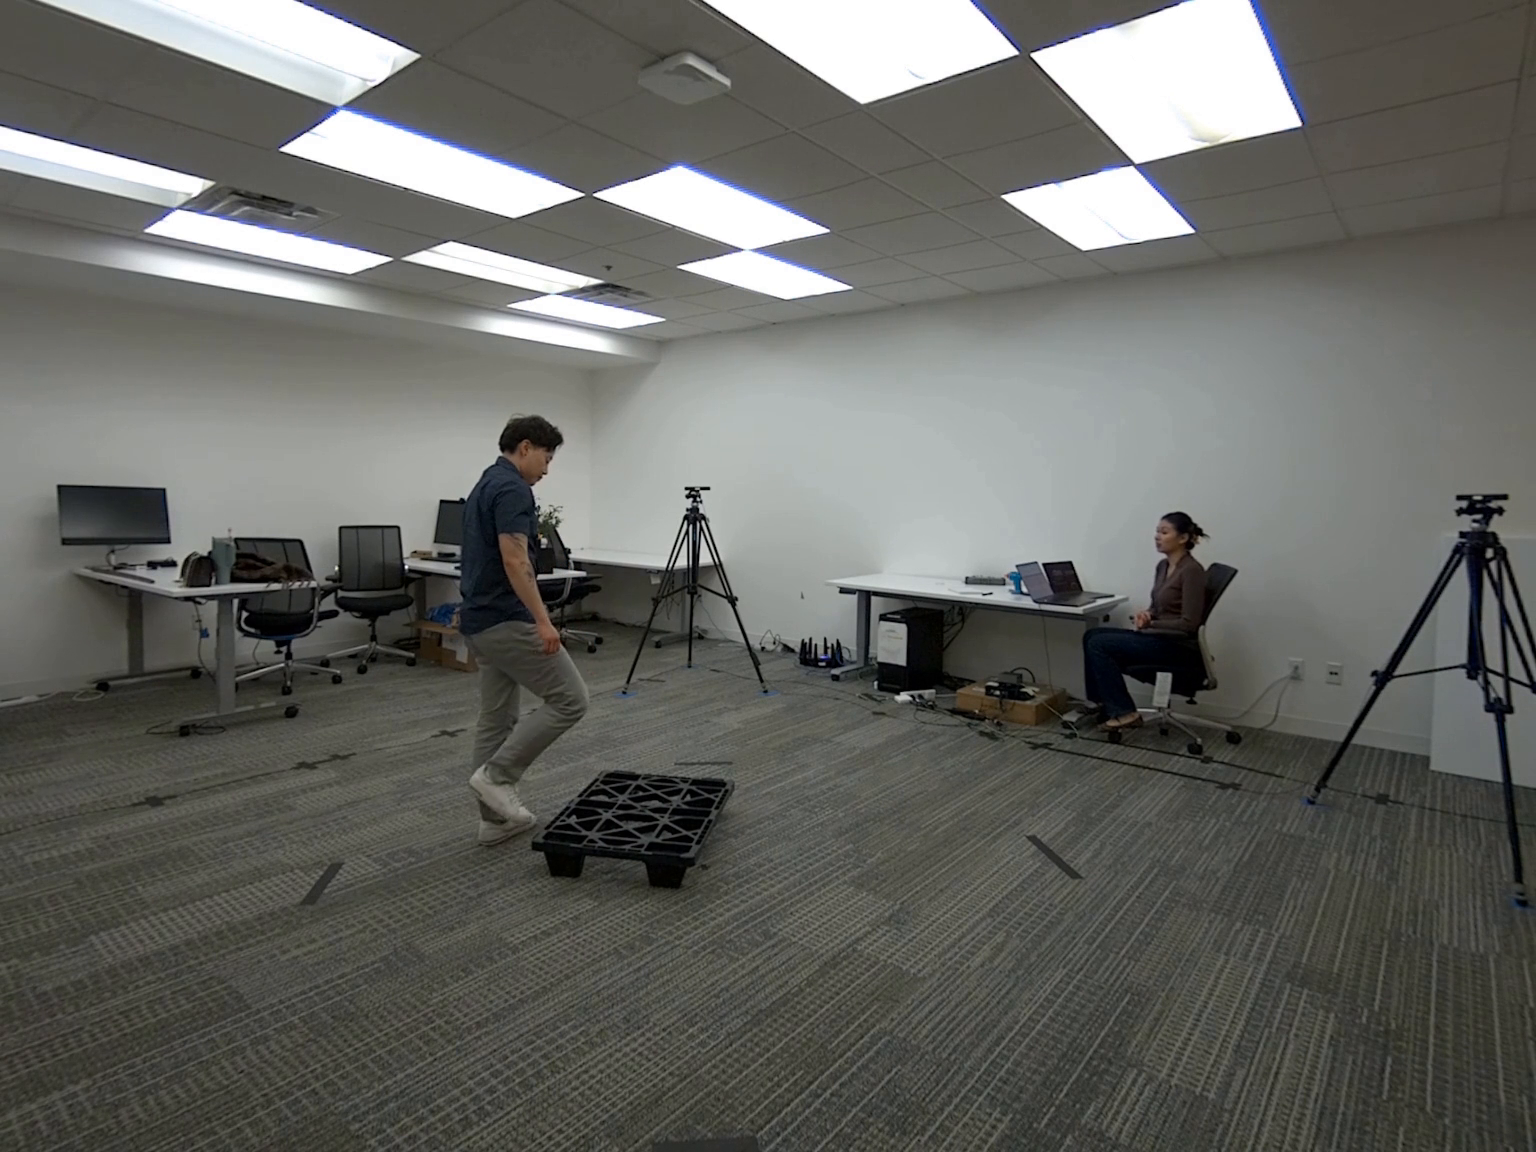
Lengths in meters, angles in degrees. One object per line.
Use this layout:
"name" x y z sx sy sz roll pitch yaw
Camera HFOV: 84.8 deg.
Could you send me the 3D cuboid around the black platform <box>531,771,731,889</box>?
"black platform" -0.504 0.971 3.332 0.612 0.143 0.800 1 5 9
